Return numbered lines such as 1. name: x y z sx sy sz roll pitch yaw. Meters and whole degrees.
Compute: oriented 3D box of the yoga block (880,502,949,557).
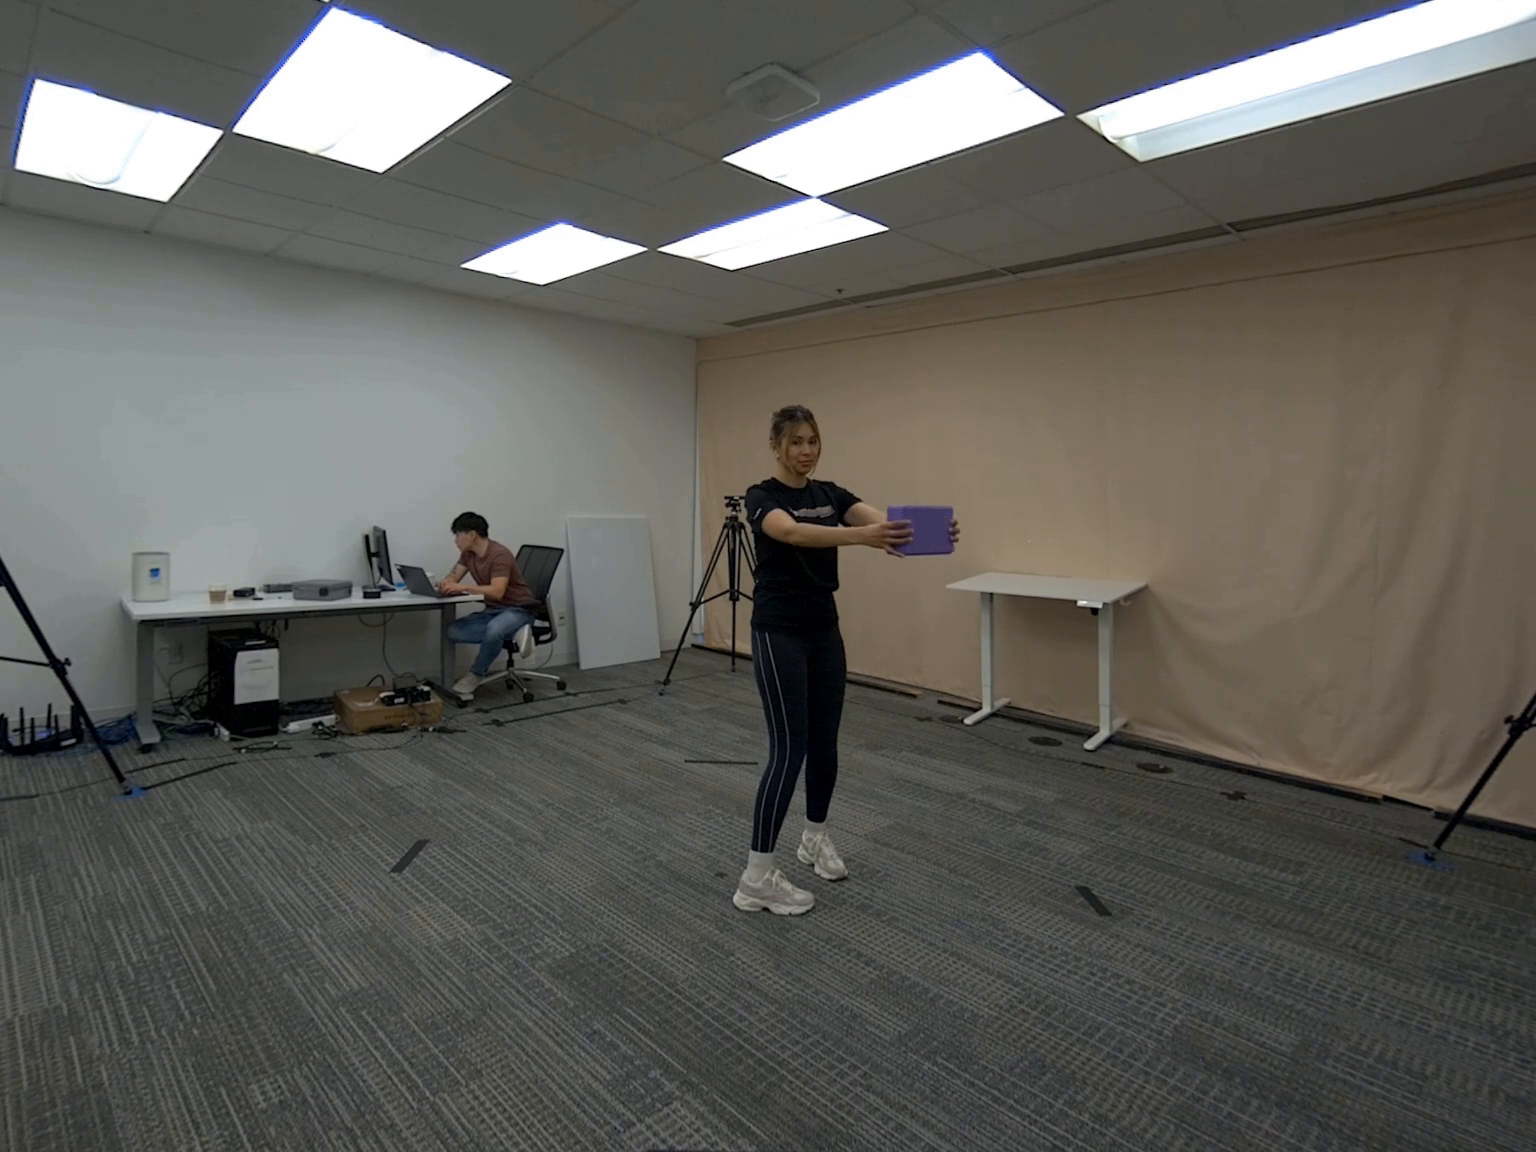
1. yoga block: 0.440 -0.142 2.538 0.078 0.148 0.224 12 10 40
